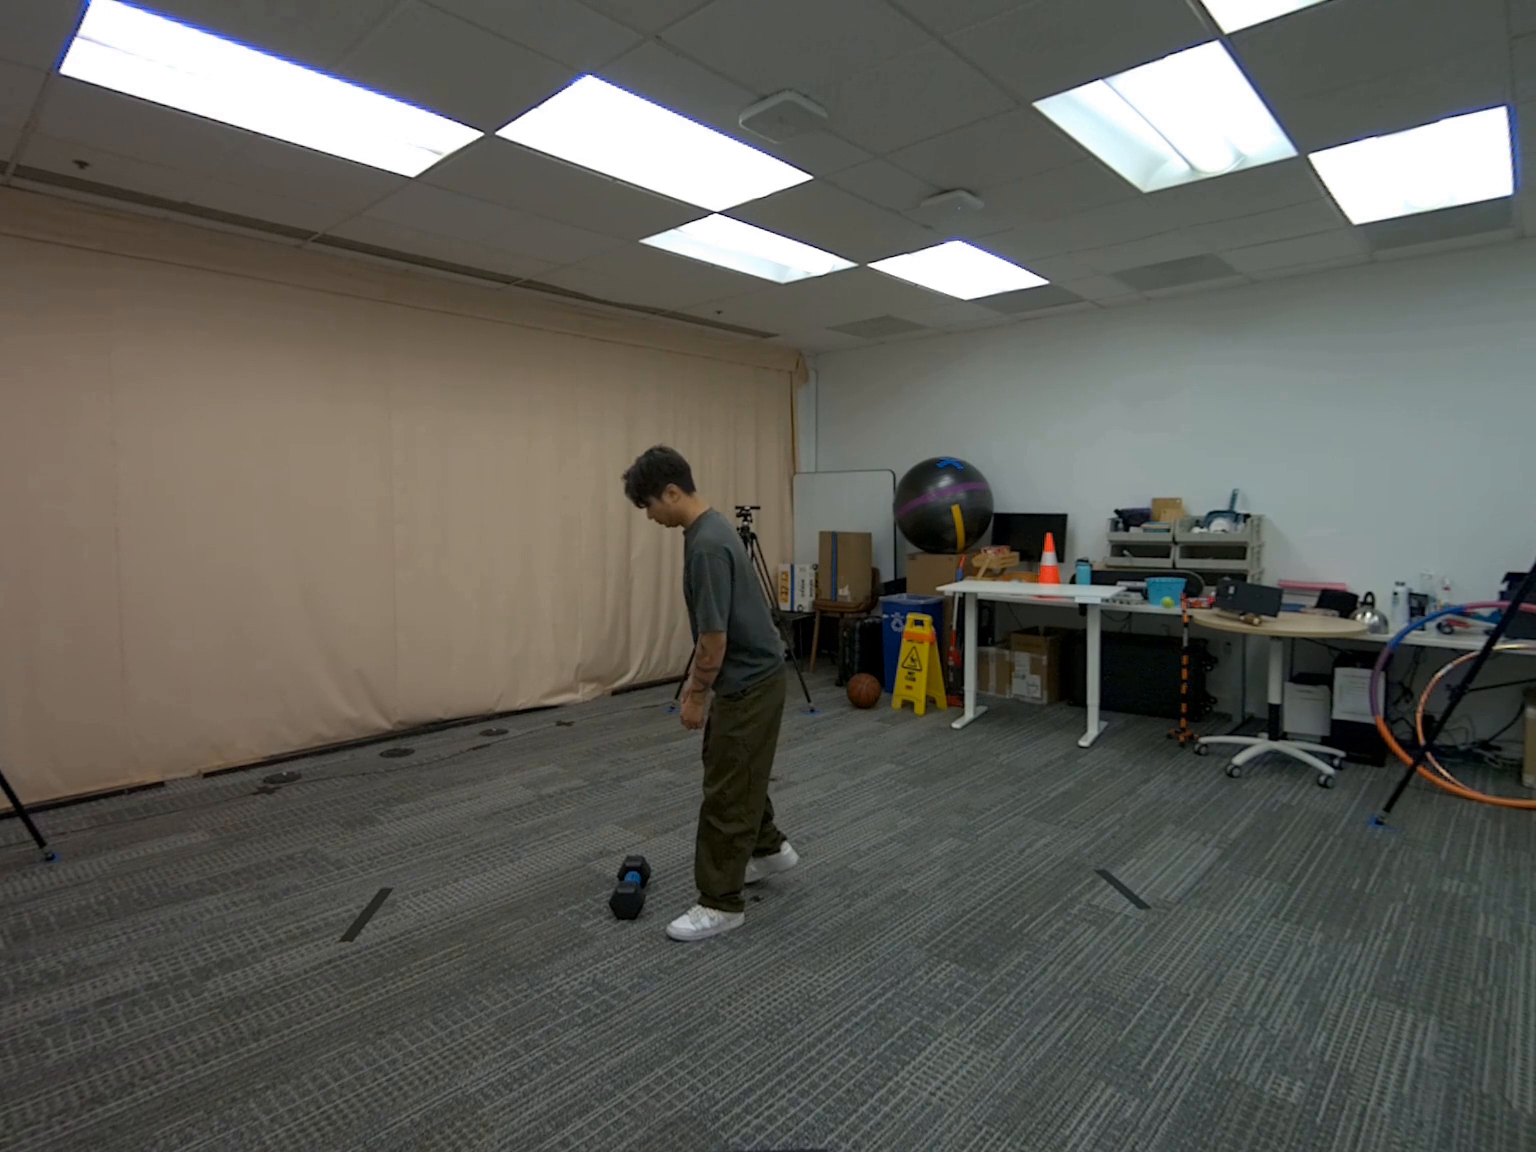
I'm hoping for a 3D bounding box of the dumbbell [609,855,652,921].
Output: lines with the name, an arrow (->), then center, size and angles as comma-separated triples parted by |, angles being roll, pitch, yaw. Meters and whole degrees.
dumbbell -> -0.481, 1.097, 2.969 | 0.108, 0.123, 0.295 | 29, 1, -5
